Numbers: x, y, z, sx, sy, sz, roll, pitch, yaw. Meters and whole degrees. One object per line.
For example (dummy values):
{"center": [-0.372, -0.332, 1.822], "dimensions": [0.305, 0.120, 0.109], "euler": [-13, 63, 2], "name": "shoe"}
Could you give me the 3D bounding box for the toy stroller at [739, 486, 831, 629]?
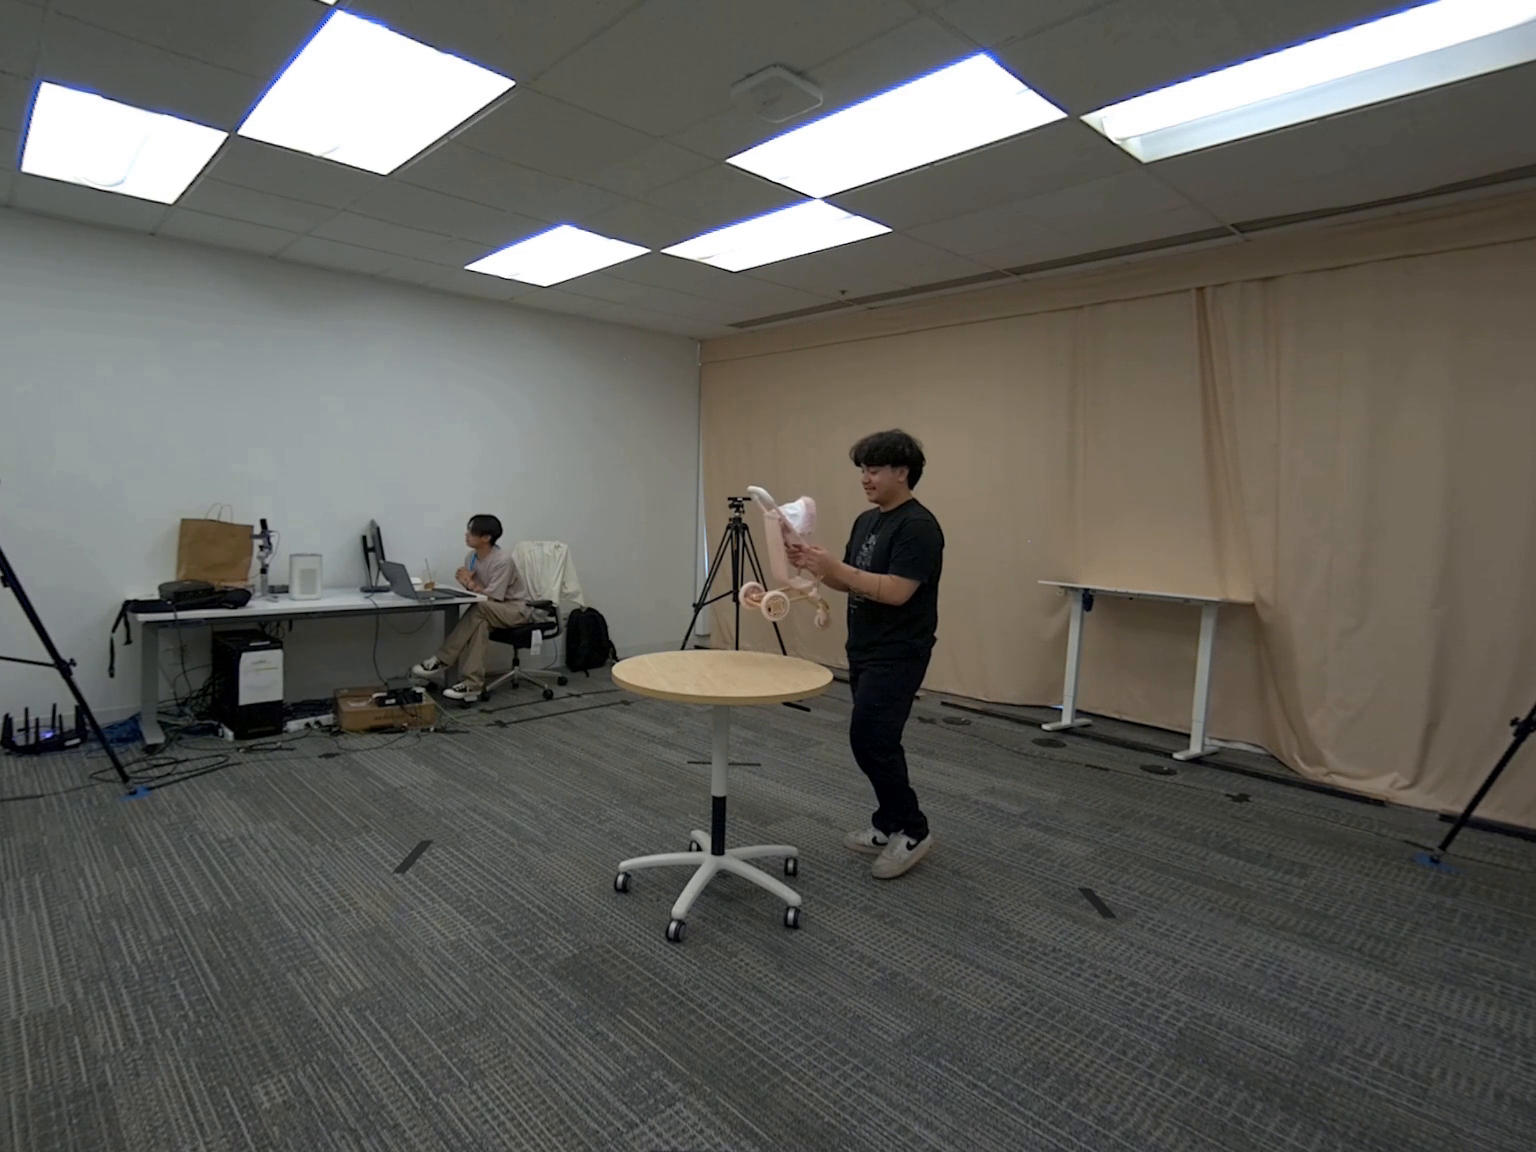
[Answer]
{"center": [0.083, -0.058, 3.151], "dimensions": [0.337, 0.533, 0.285], "euler": [2, 4, -14], "name": "toy stroller"}
